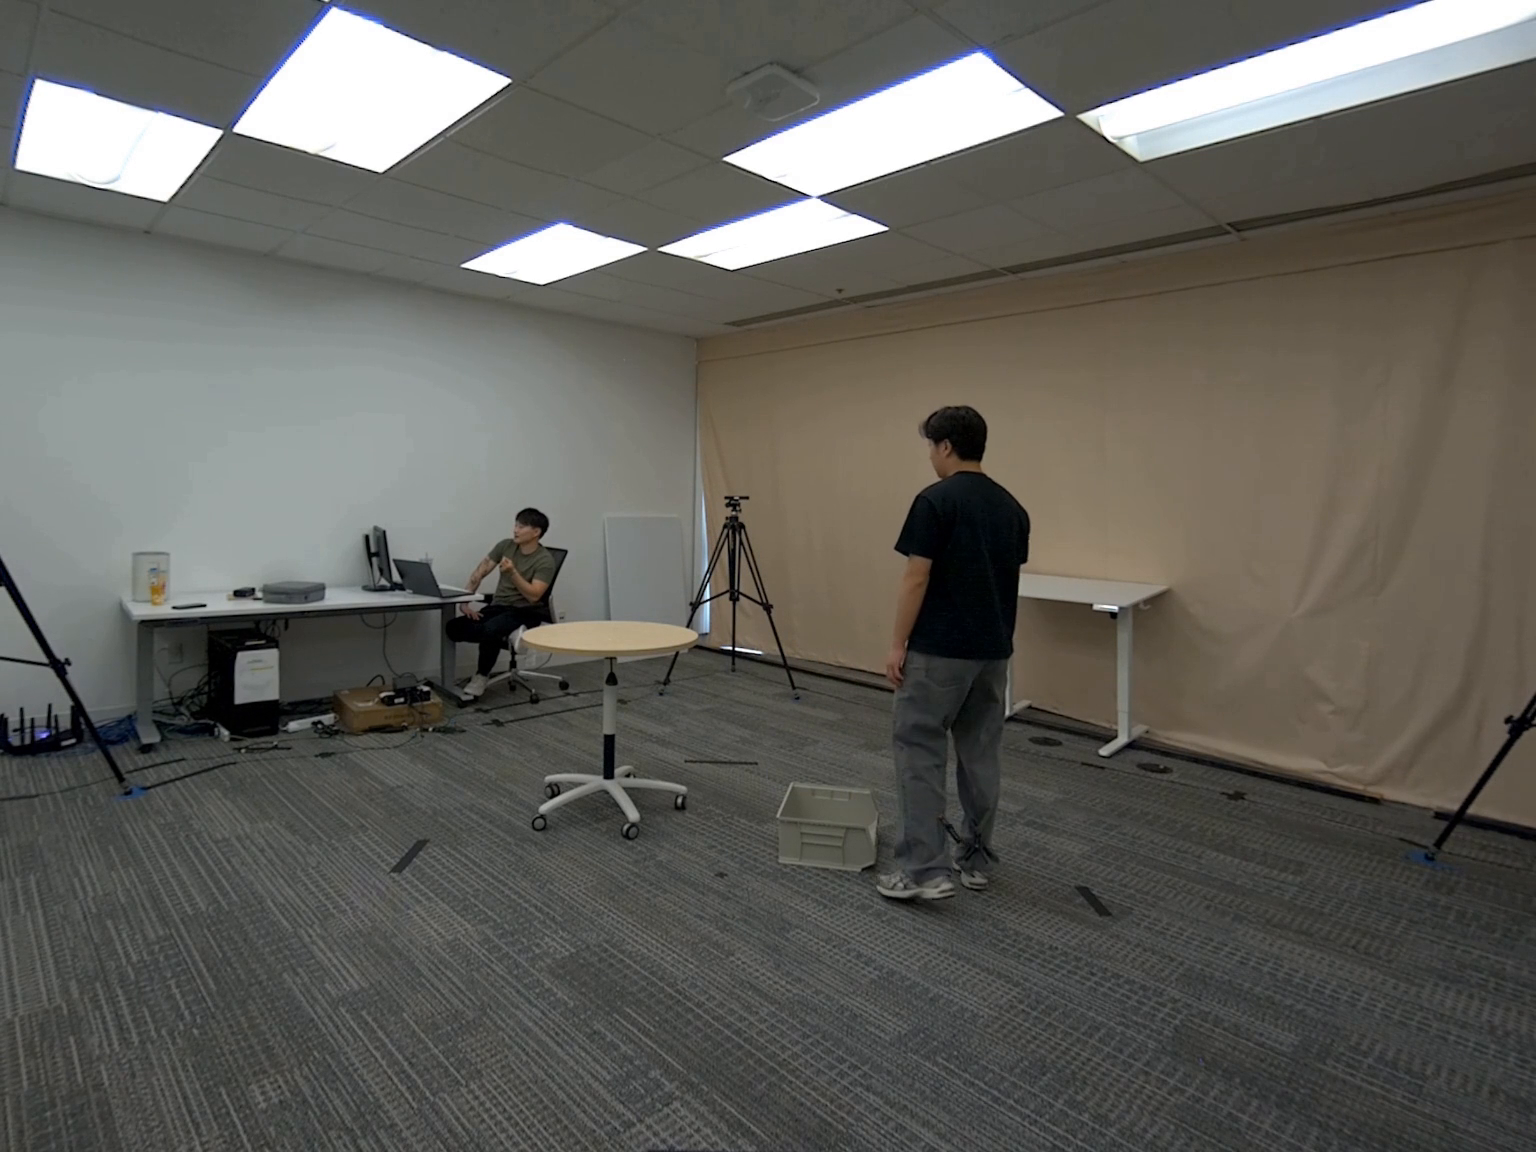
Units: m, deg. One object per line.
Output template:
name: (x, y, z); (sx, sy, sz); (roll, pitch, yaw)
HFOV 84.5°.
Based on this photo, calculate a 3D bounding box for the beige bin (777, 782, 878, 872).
beige bin: (0.242, 1.002, 3.380); (0.381, 0.188, 0.420); (1, 5, 10)
